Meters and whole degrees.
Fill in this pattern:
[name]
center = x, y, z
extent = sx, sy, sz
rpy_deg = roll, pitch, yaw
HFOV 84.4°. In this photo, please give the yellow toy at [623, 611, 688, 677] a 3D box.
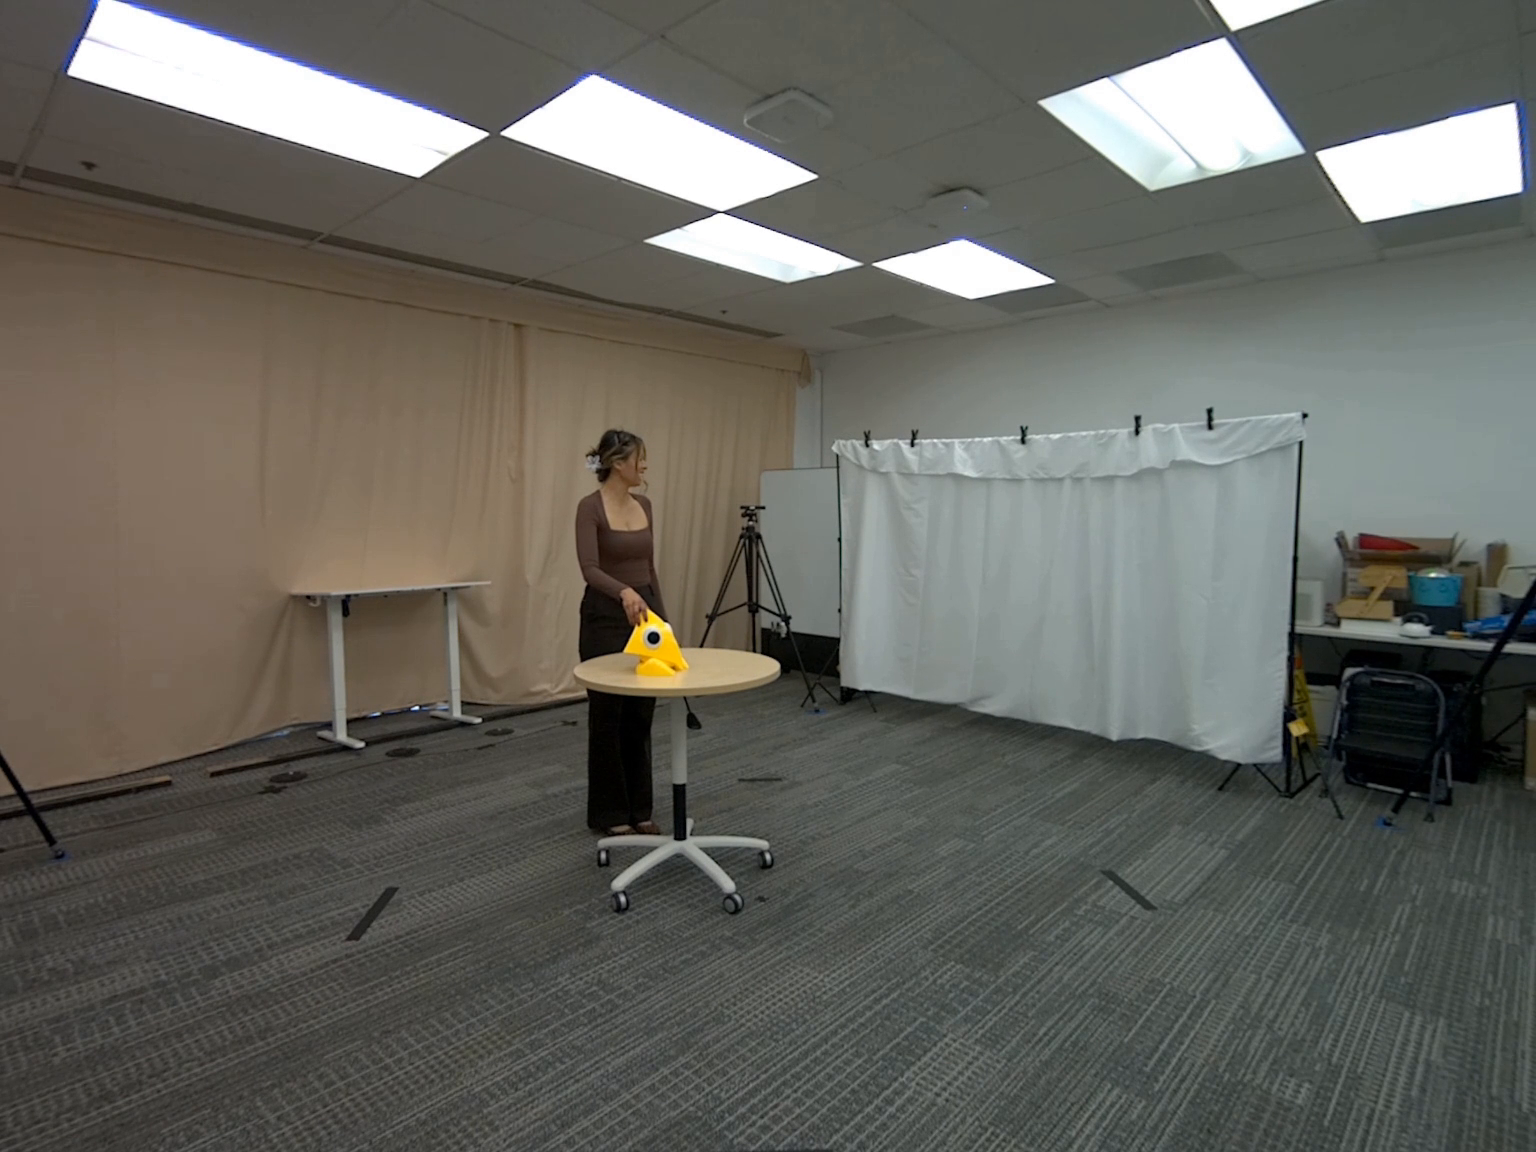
[yellow toy]
center = -0.398, 0.230, 3.061
extent = 0.197, 0.230, 0.201
rpy_deg = 0, 5, 20
